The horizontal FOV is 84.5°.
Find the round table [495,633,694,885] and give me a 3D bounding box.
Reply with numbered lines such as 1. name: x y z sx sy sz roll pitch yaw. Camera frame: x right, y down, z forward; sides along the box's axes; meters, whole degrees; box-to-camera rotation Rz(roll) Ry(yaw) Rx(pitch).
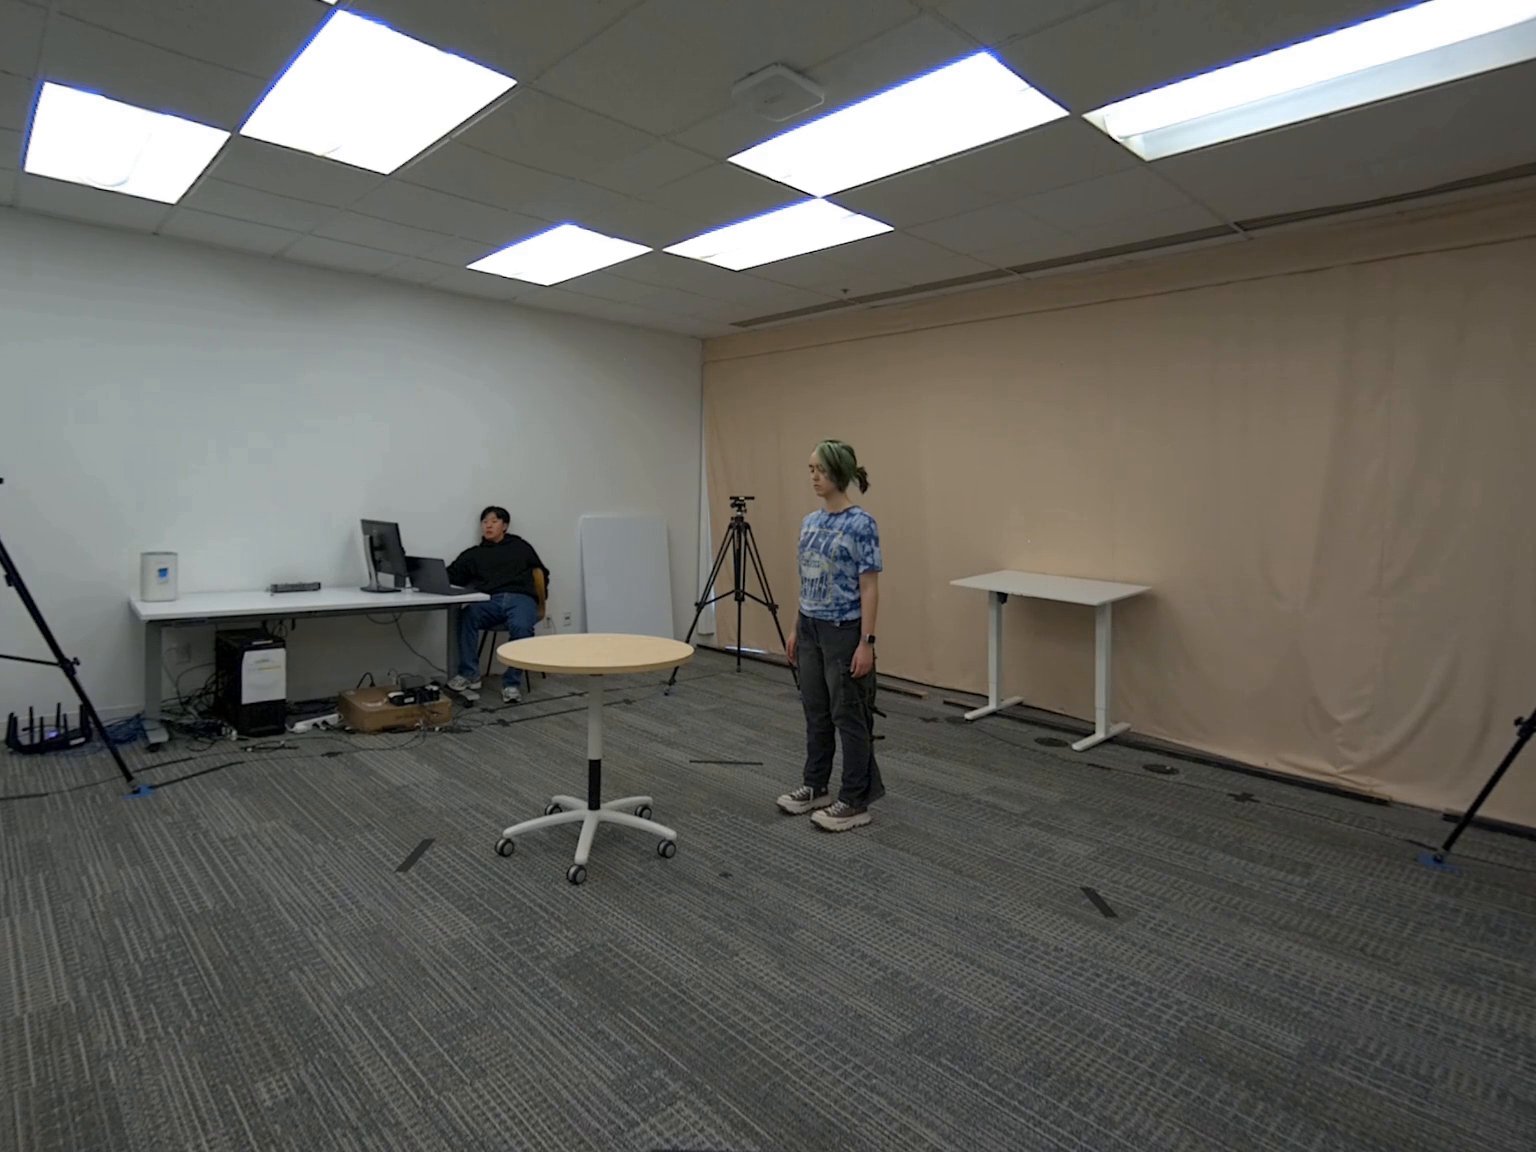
1. round table: -0.700 0.683 3.344 0.763 0.792 0.766 2 4 -1
